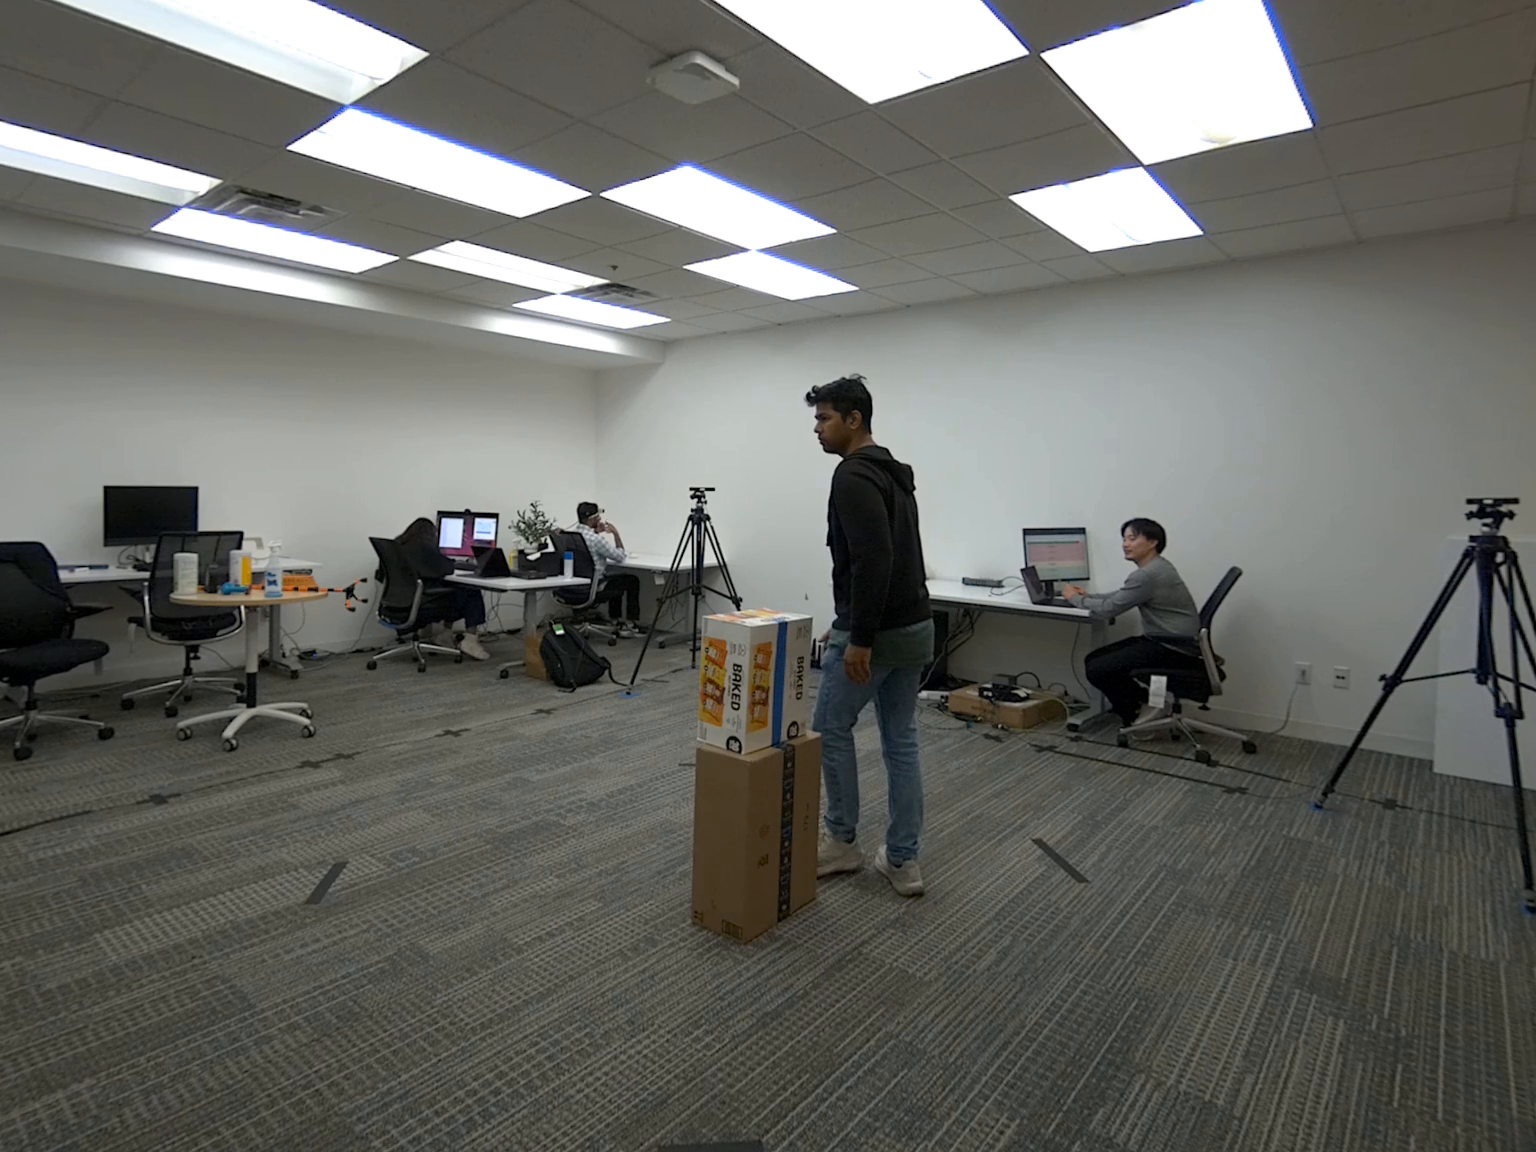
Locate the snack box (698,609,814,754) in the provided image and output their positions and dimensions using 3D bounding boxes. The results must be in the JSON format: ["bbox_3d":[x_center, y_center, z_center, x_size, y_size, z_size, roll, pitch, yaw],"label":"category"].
[{"bbox_3d":[-0.051,0.330,2.806,0.213,0.404,0.330,6,6,38],"label":"snack box"}]
